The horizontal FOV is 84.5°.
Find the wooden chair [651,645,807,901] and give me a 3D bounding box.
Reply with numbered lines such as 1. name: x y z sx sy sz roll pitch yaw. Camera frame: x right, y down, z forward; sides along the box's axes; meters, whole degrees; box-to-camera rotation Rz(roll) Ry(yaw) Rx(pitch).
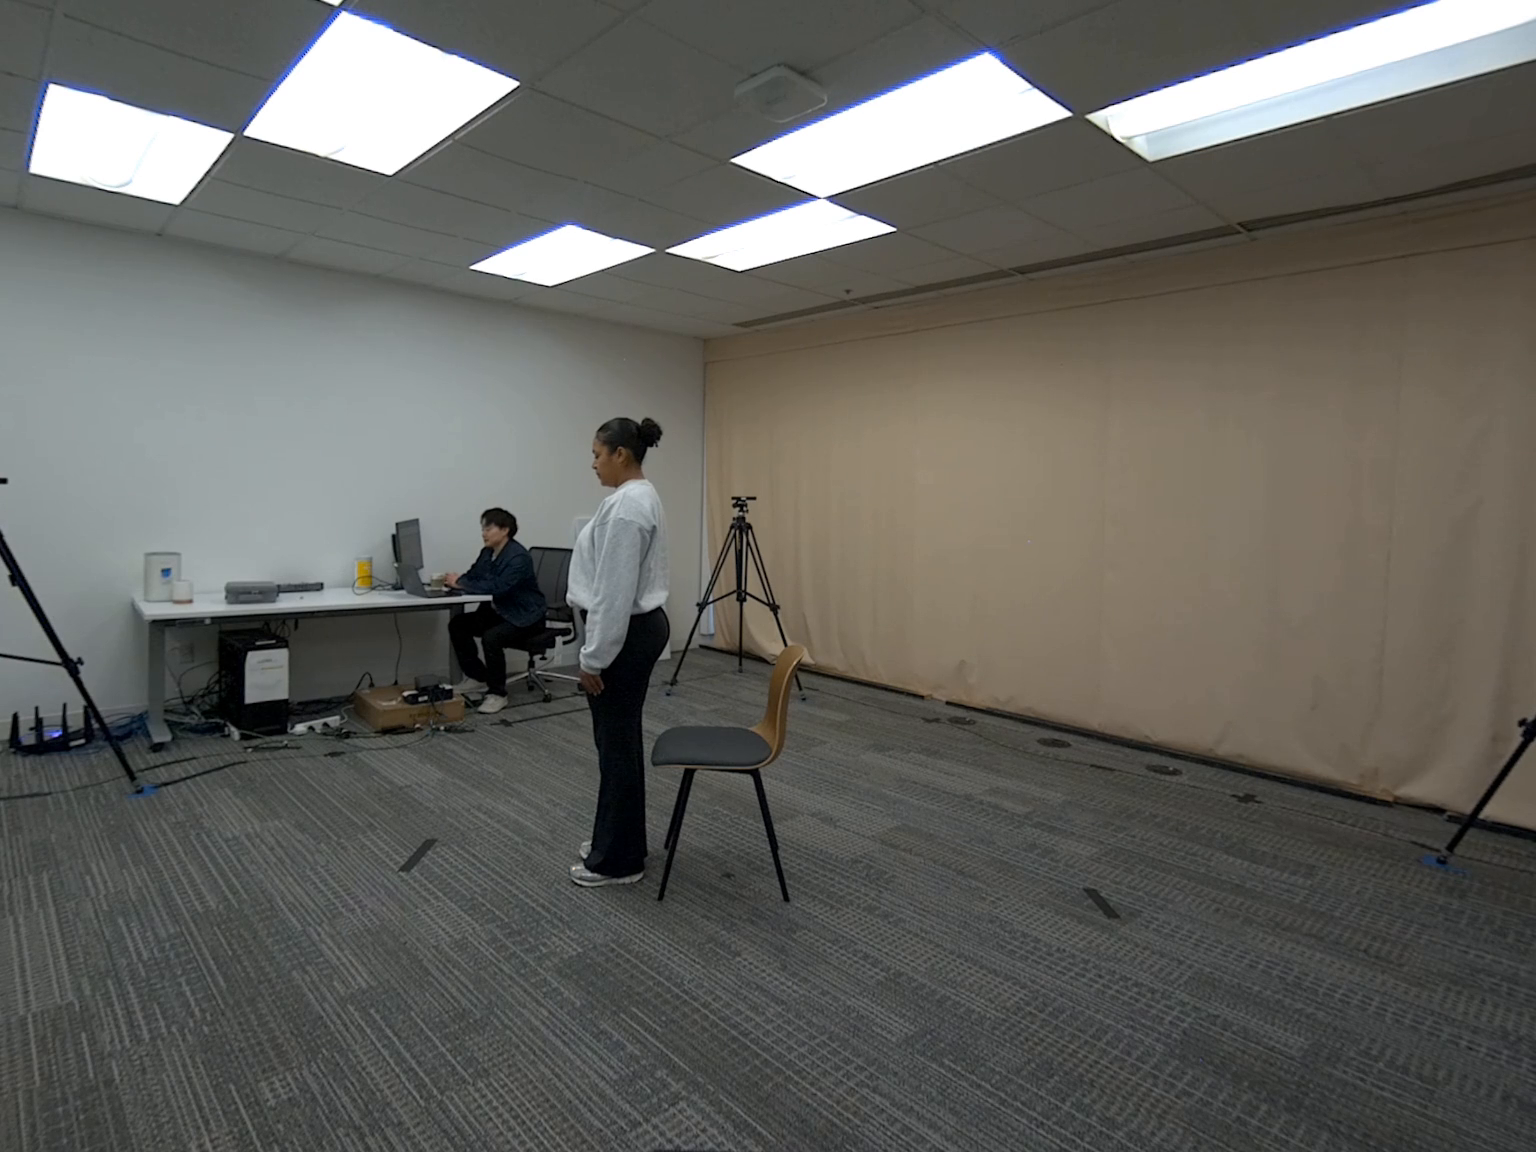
1. wooden chair: -0.168 0.677 3.086 0.522 0.875 0.481 5 4 -4
